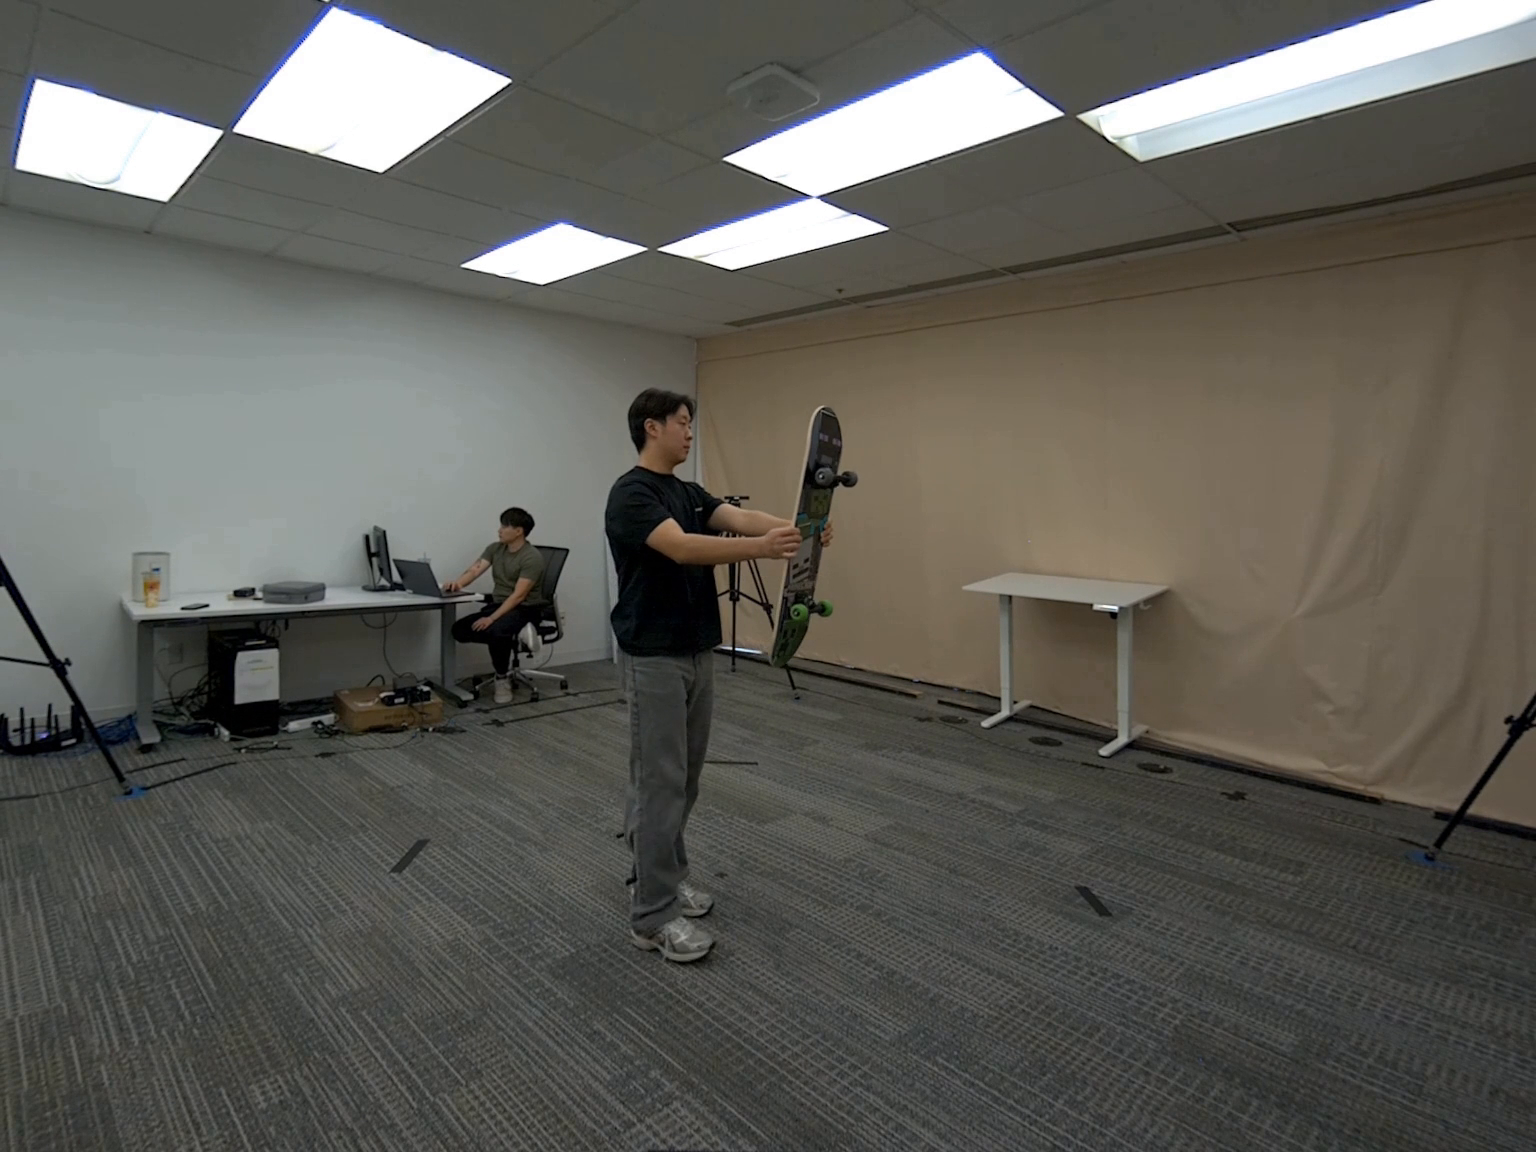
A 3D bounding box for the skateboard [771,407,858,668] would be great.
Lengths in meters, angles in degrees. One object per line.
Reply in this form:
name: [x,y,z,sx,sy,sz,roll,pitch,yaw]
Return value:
skateboard: [0.134,-0.096,2.475,0.113,0.782,0.189,17,10,32]
